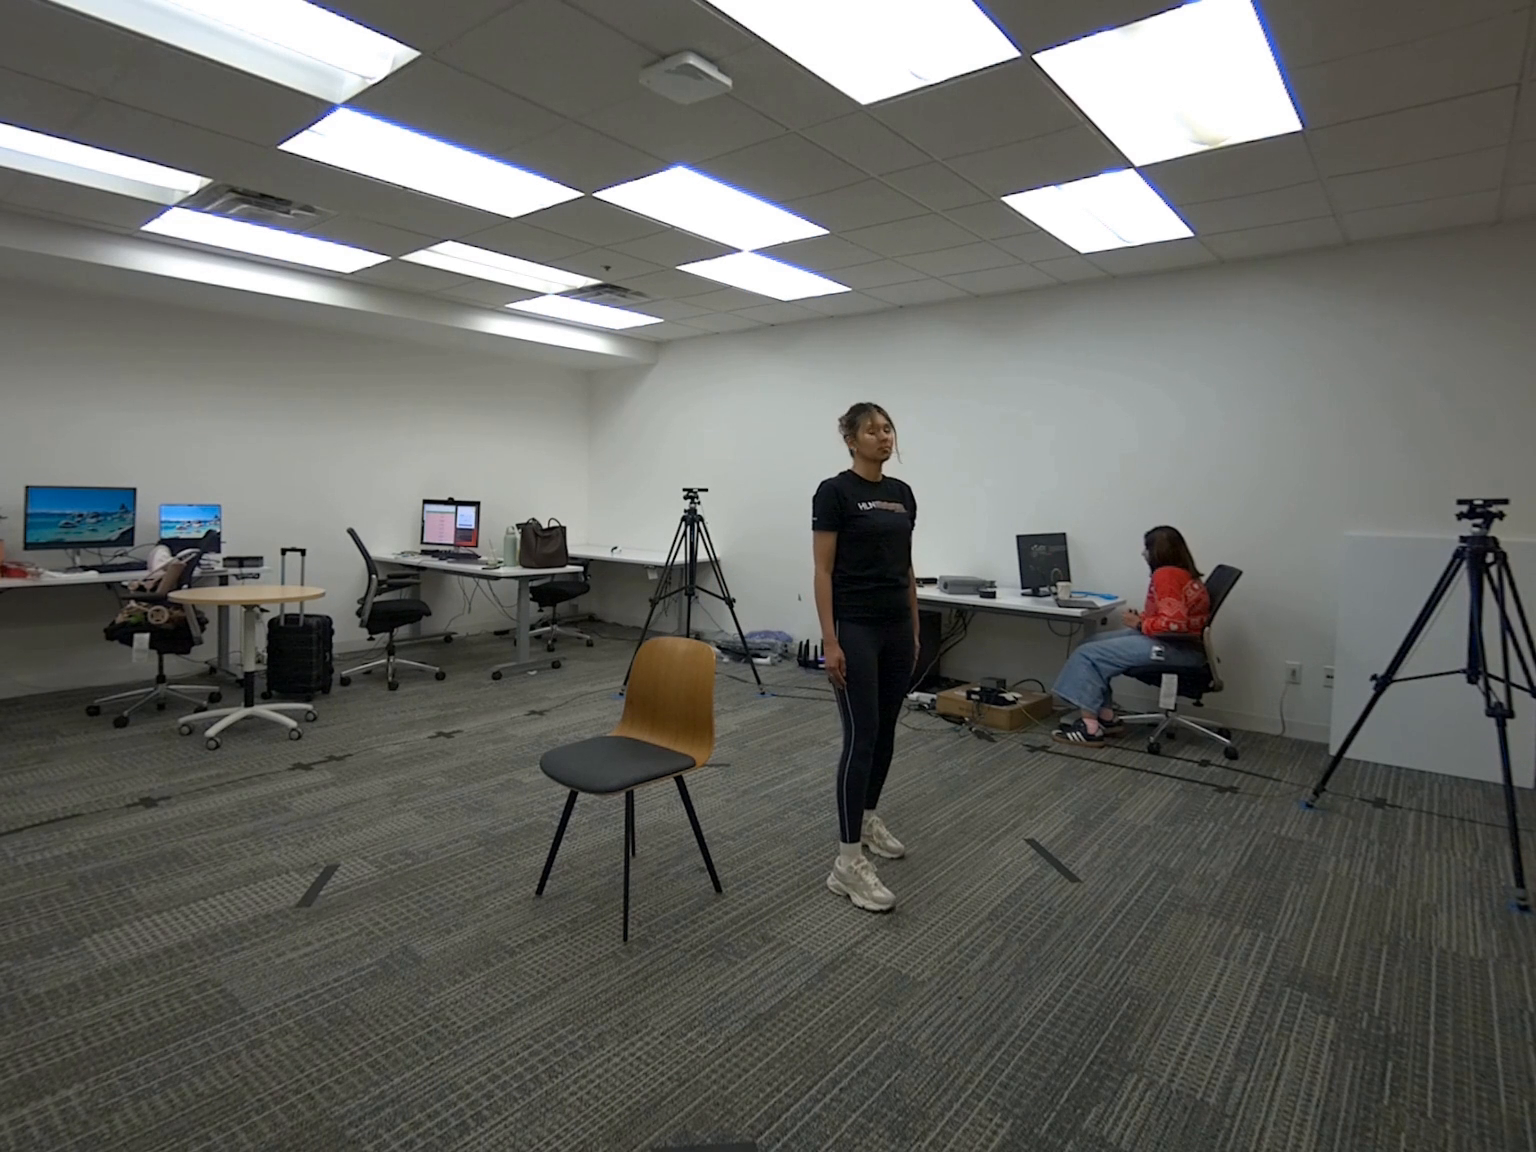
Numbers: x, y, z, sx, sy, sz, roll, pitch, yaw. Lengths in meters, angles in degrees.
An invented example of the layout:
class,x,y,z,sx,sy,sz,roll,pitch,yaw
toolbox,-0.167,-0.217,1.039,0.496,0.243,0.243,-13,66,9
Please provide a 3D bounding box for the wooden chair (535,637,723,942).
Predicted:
class,x,y,z,sx,sy,sz,roll,pitch,yaw
wooden chair,-0.476,0.660,2.876,0.494,0.878,0.506,4,0,39
